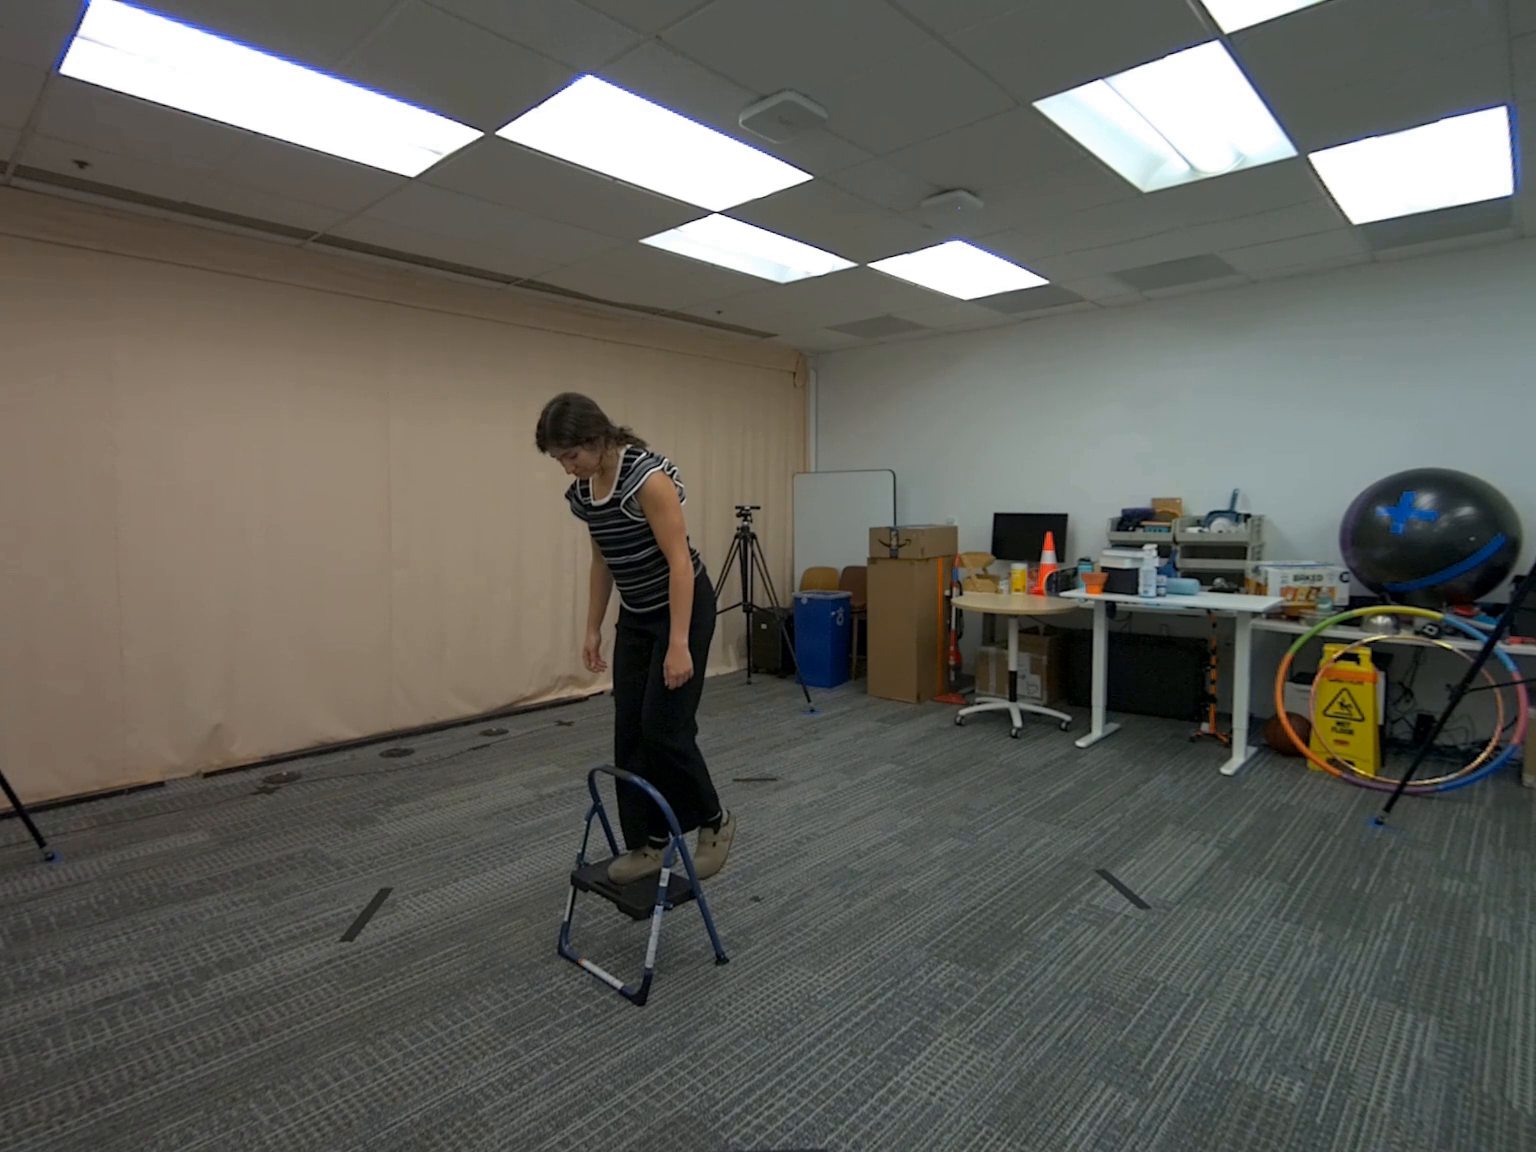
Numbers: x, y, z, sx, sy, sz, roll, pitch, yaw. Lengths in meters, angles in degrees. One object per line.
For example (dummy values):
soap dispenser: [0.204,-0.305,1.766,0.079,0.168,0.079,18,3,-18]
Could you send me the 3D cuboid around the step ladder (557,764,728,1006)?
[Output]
step ladder: [-0.392,0.878,2.587,0.445,0.605,0.338,3,5,42]
